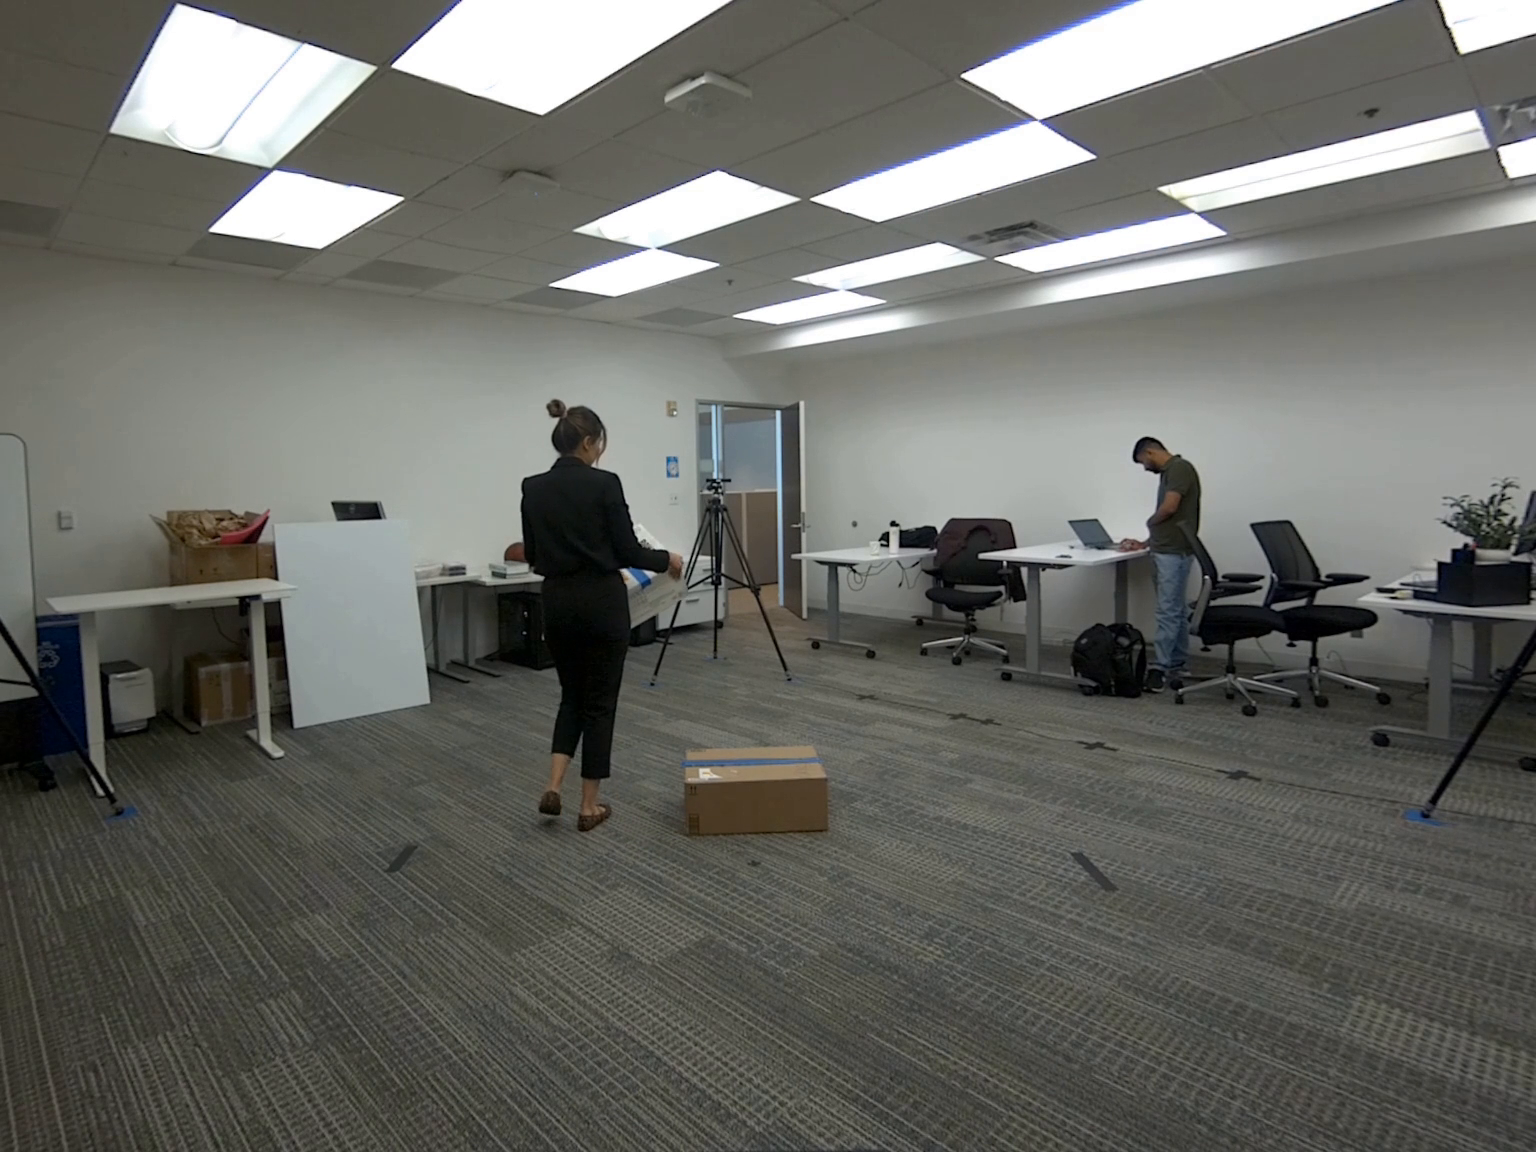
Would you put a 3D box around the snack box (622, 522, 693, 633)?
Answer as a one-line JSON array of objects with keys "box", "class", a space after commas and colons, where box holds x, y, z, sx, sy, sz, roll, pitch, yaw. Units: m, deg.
[{"box": [-0.613, -0.002, 3.901, 0.338, 0.199, 0.421, -30, 43, -19], "class": "snack box"}]
